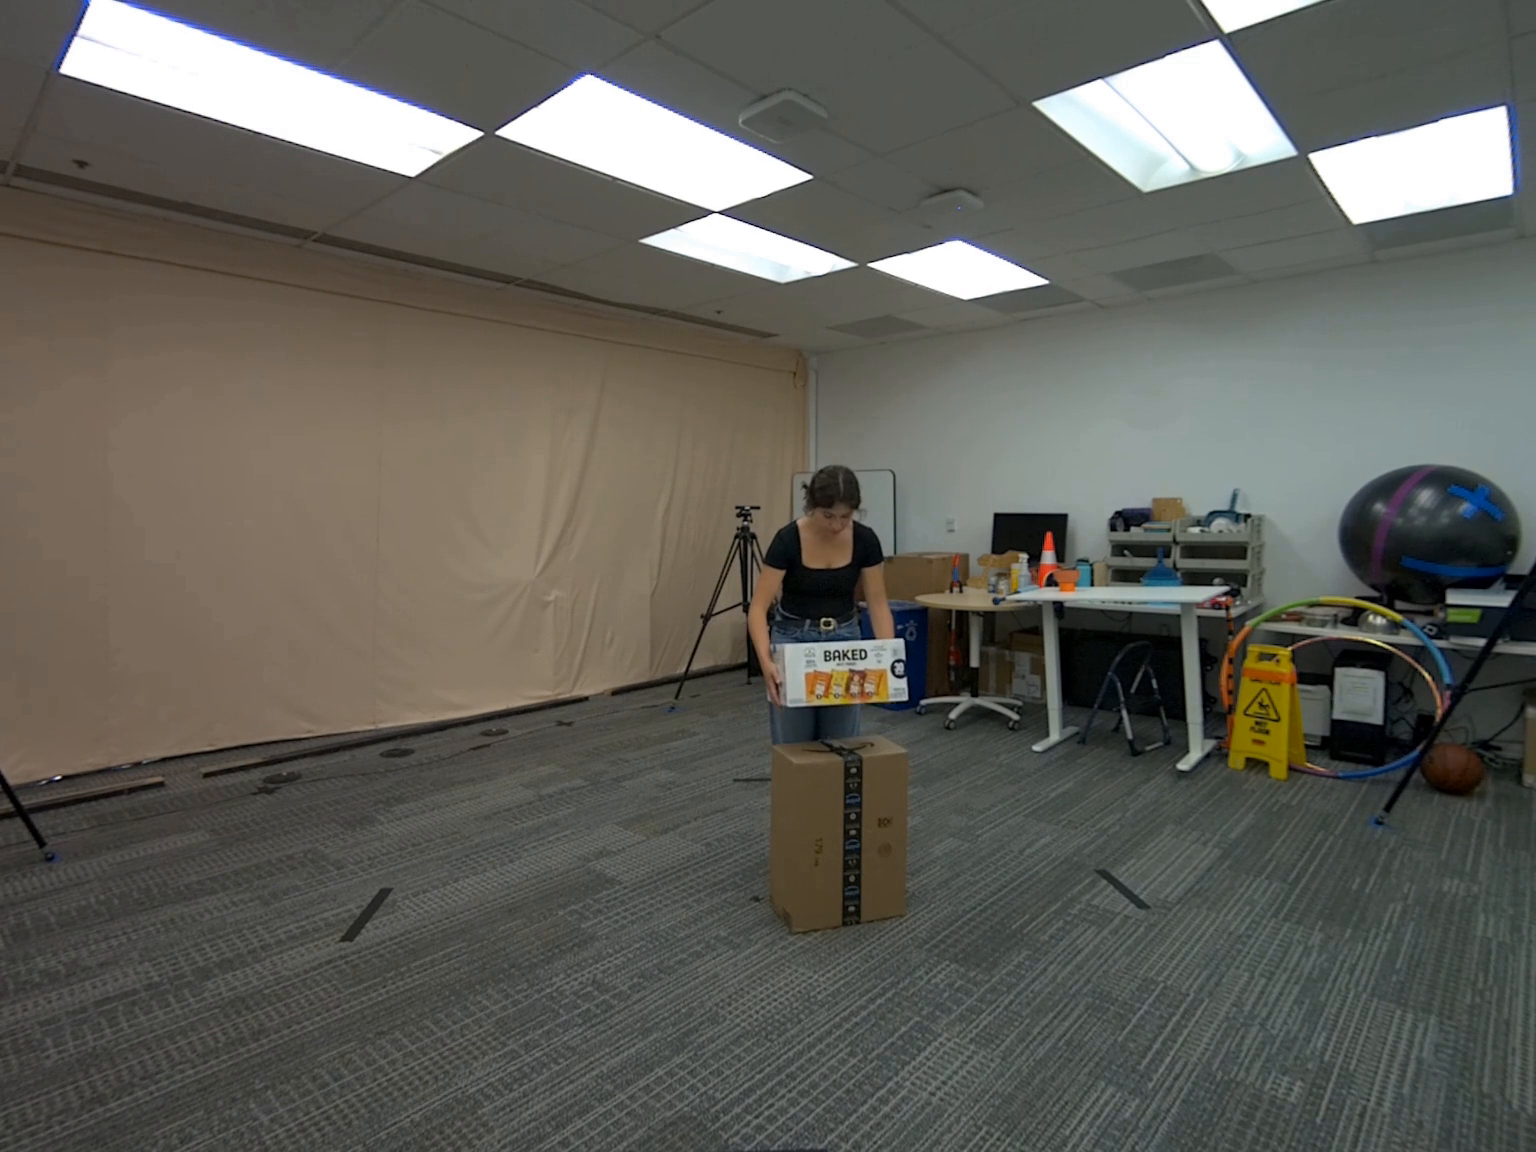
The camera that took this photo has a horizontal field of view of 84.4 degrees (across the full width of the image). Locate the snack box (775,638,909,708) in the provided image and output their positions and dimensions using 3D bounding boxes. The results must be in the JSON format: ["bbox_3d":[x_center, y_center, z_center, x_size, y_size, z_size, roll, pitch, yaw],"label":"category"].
[{"bbox_3d":[0.223,0.327,2.893,0.401,0.206,0.342,-2,-6,-10],"label":"snack box"}]
